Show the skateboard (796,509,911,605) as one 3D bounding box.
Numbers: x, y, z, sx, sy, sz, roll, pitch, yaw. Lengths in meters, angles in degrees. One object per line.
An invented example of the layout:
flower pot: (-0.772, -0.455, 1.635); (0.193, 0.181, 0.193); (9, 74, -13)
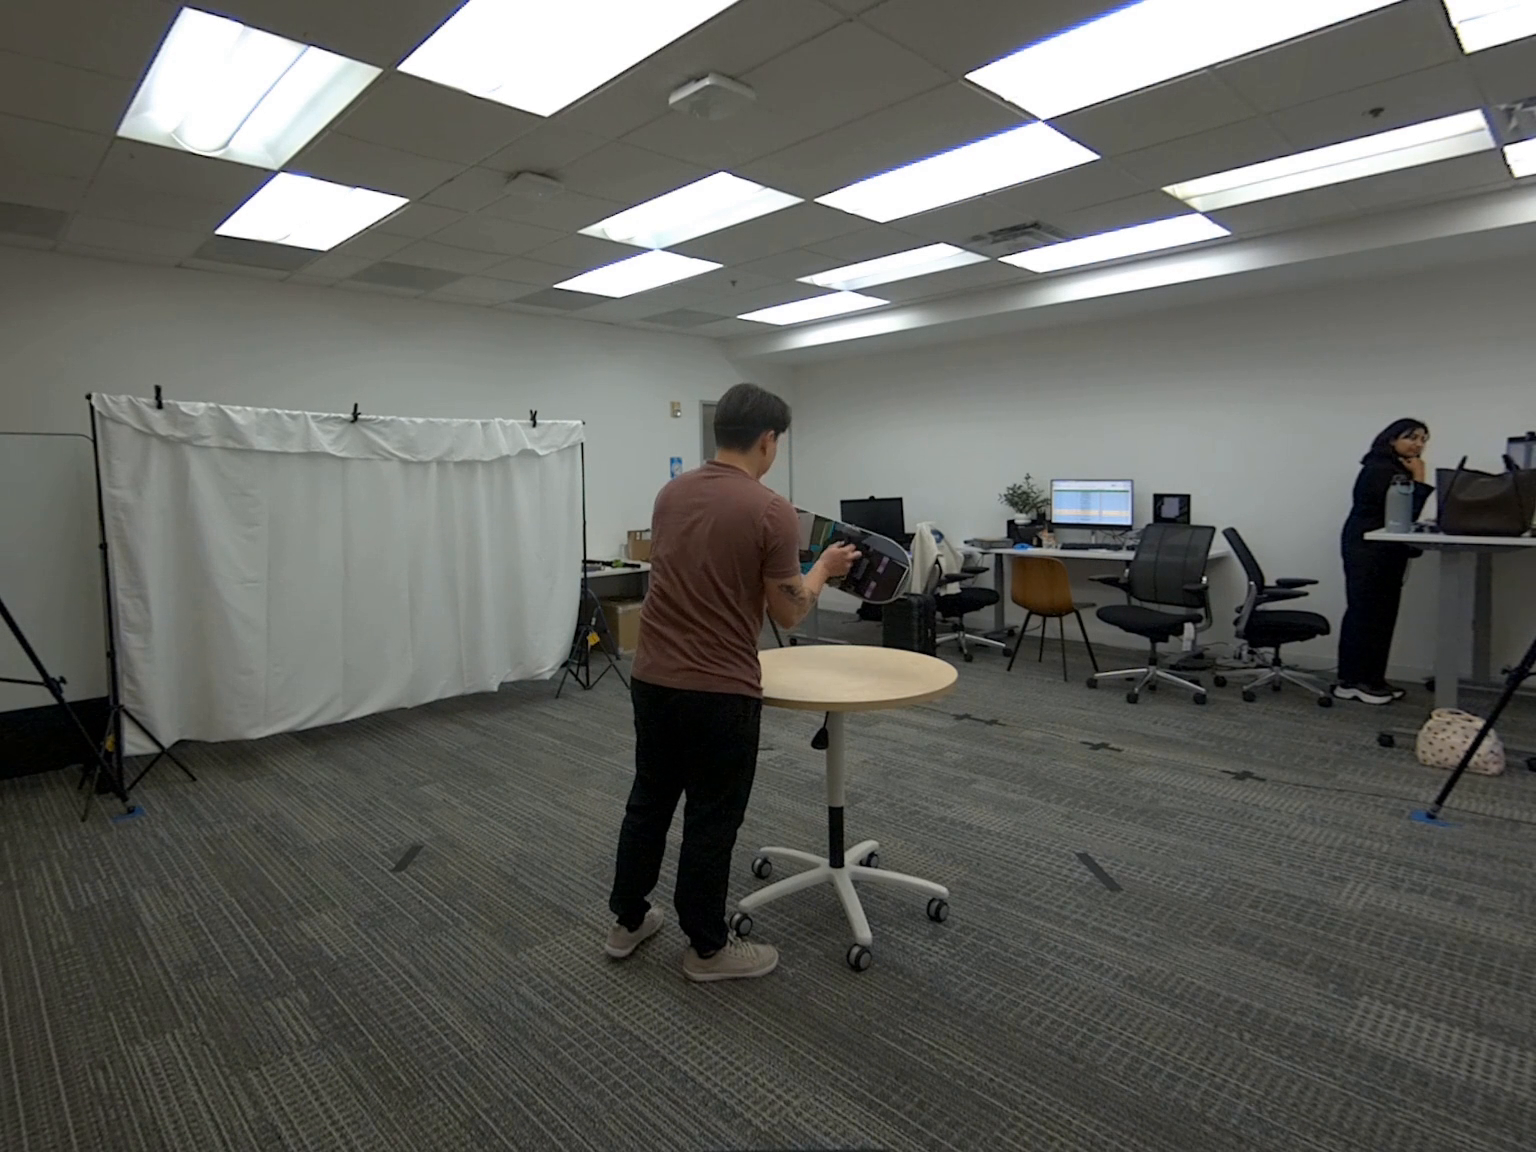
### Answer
skateboard: (0.114, -0.110, 2.676); (0.106, 0.193, 0.815); (19, 4, -43)
